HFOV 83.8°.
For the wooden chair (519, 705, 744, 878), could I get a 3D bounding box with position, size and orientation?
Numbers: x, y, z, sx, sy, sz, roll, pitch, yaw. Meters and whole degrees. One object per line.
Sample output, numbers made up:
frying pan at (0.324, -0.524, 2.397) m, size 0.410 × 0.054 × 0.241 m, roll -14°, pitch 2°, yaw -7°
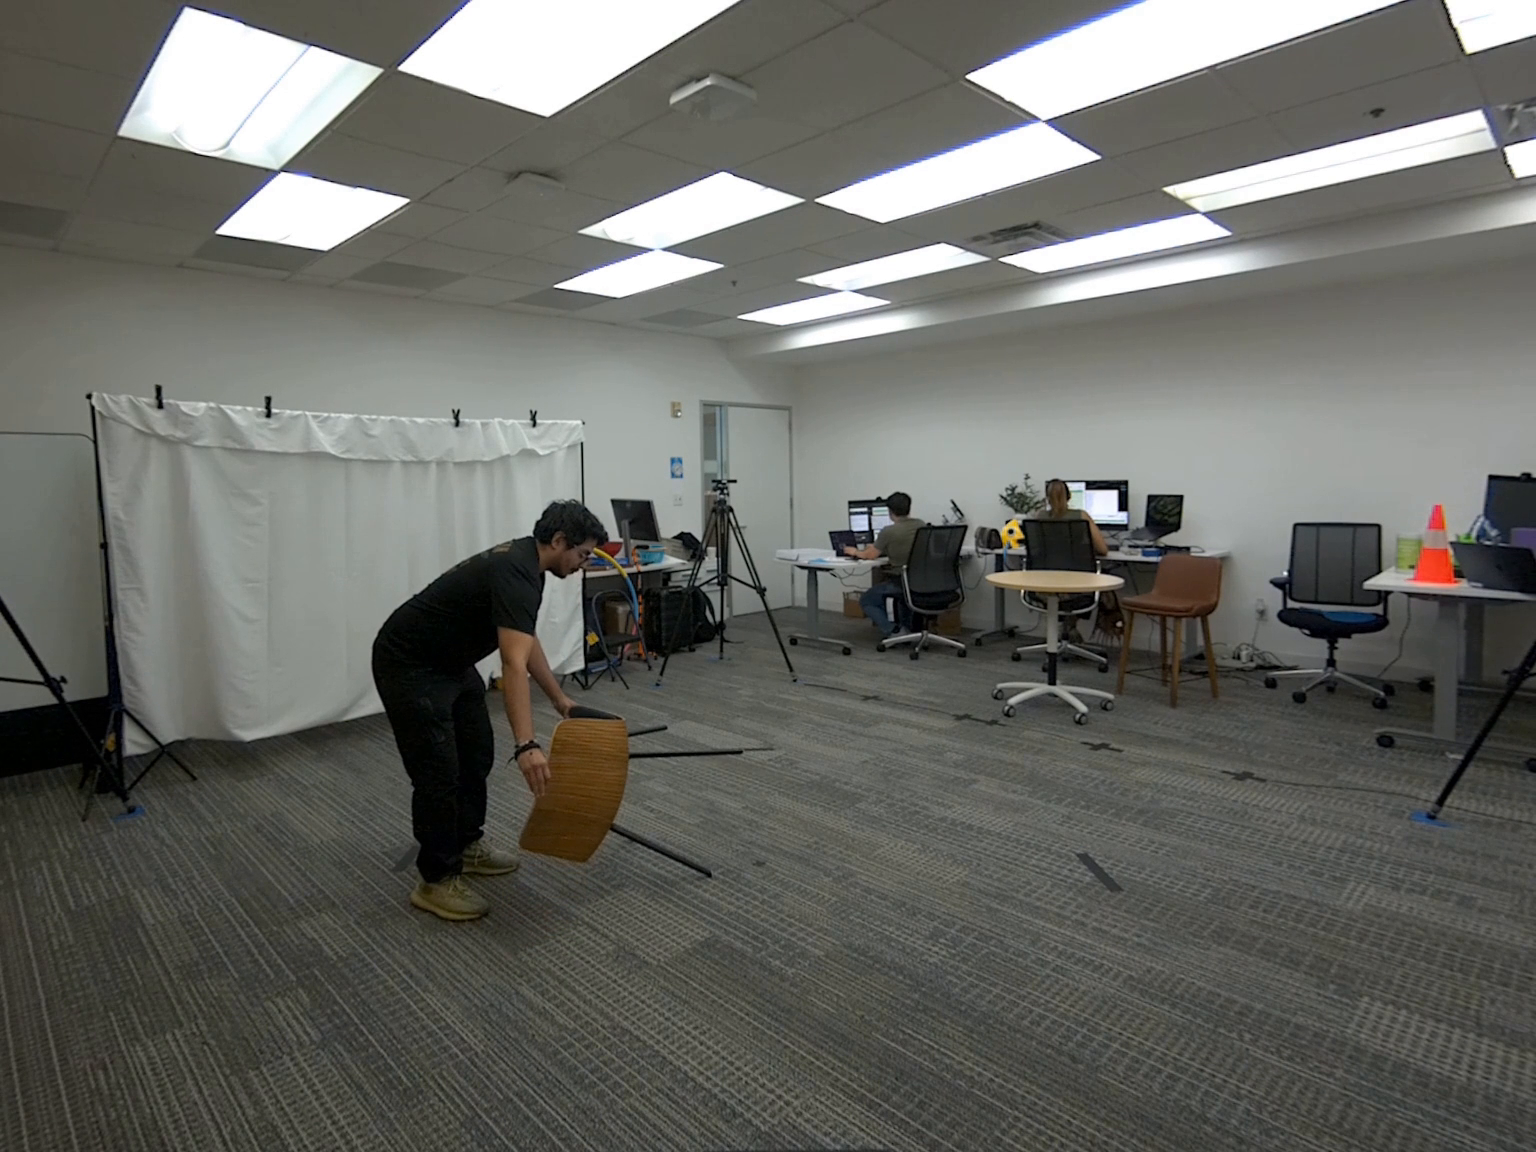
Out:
wooden chair at (-0.588, 0.710, 2.948) m, size 0.540 × 0.481 × 0.845 m, roll 6°, pitch -12°, yaw 42°
